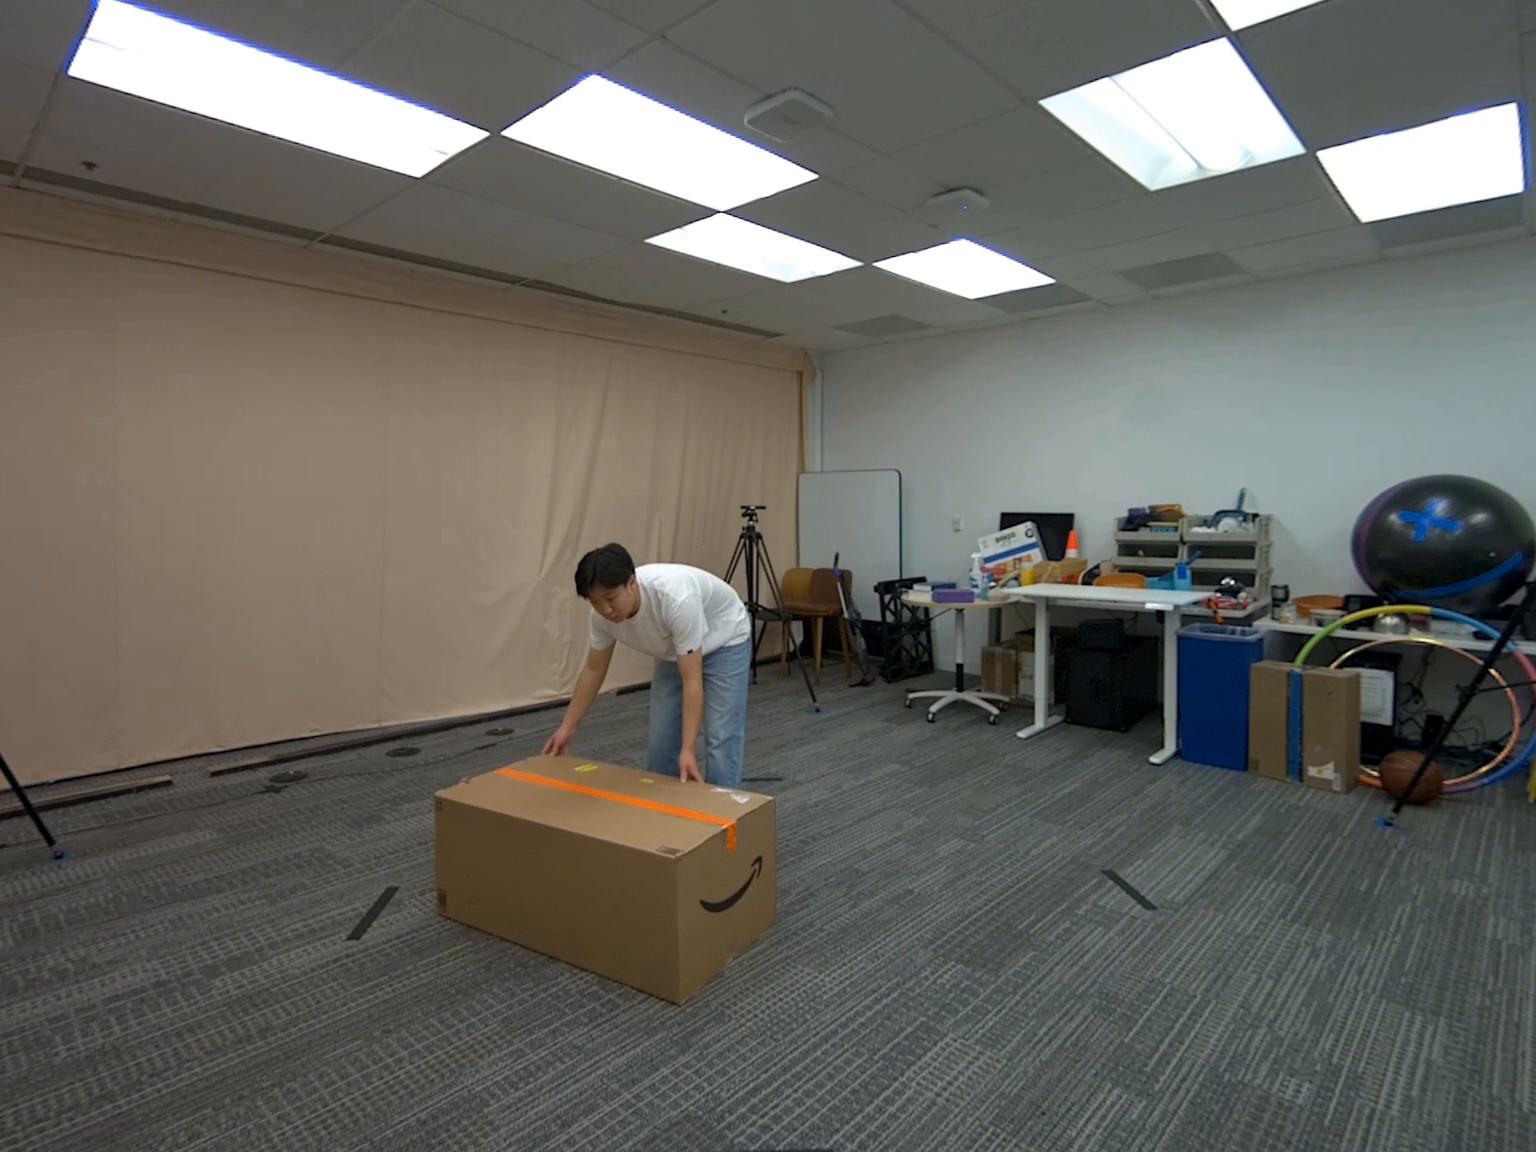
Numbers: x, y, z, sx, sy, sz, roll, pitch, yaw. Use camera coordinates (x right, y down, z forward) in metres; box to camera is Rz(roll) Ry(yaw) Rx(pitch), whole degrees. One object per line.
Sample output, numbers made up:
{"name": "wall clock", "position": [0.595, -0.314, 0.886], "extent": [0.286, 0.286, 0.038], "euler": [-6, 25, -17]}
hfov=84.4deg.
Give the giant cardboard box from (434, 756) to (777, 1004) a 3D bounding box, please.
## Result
{"name": "giant cardboard box", "position": [-0.548, 0.946, 2.836], "extent": [1.056, 0.425, 0.561], "euler": [2, 3, 31]}
